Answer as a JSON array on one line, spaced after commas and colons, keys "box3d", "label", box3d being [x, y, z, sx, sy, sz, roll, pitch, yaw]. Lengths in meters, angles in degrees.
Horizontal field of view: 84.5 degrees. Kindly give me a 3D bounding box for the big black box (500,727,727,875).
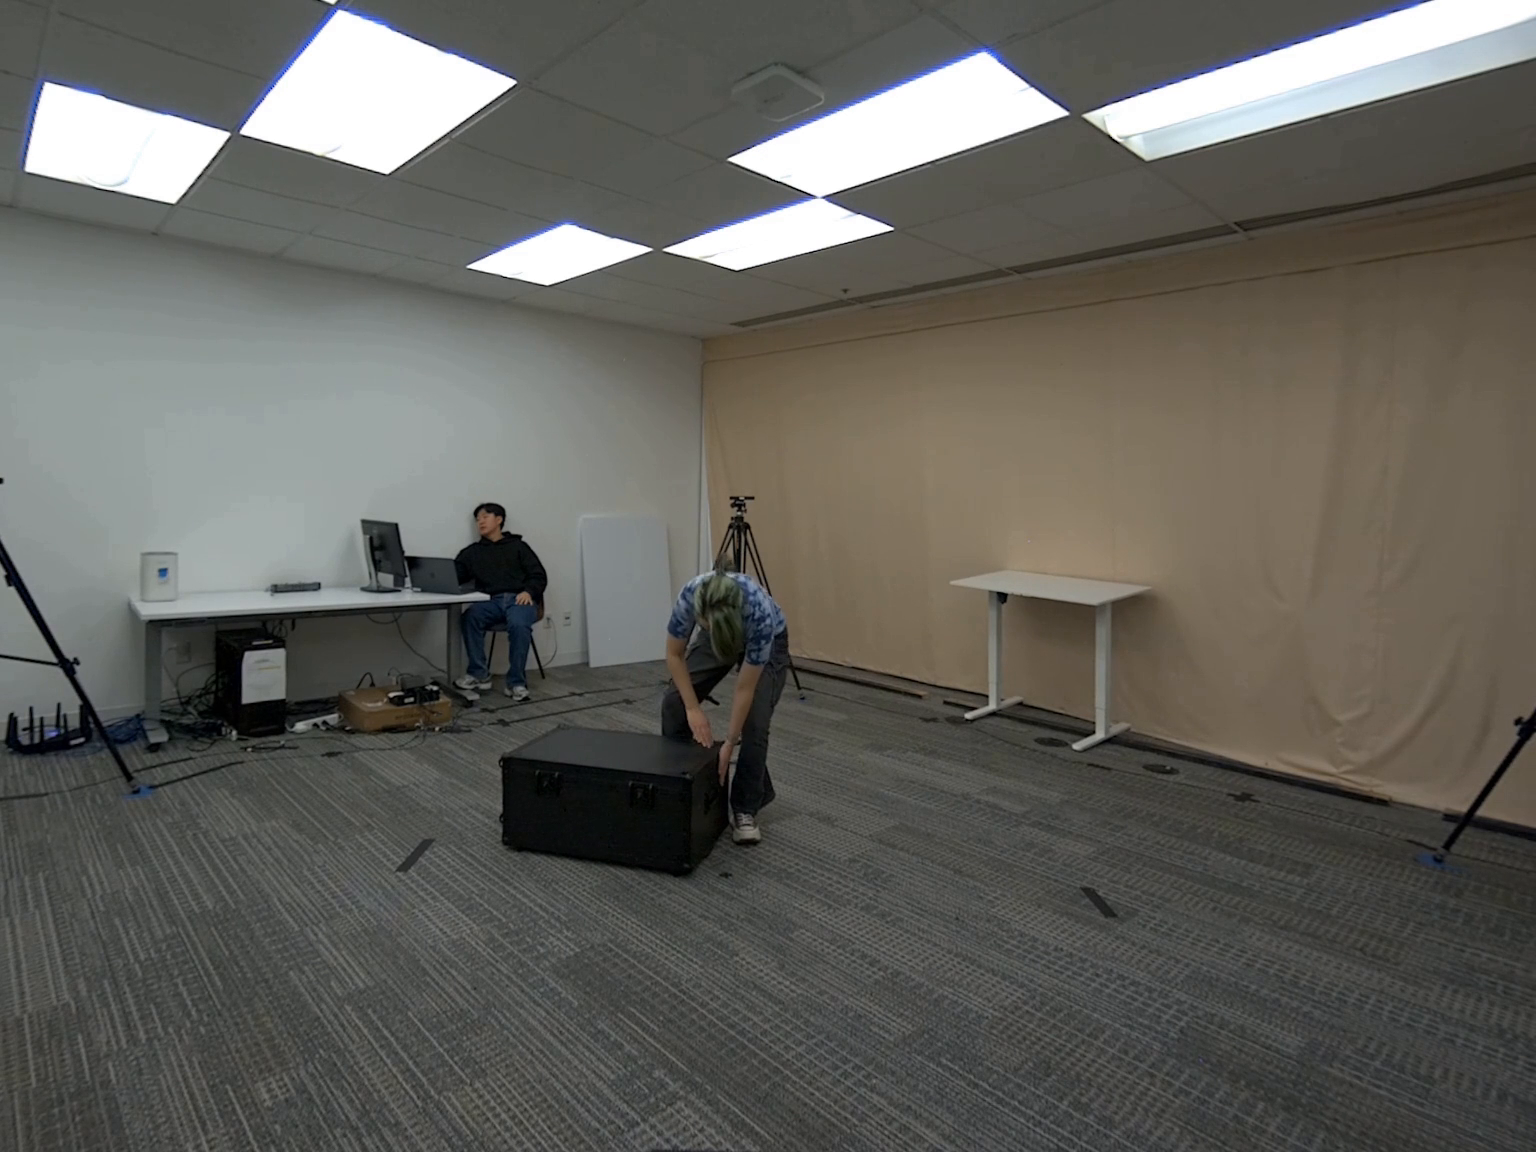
[{"box3d": [-0.638, 0.871, 3.387, 0.873, 0.395, 0.516, 4, 5, 16], "label": "big black box"}]
